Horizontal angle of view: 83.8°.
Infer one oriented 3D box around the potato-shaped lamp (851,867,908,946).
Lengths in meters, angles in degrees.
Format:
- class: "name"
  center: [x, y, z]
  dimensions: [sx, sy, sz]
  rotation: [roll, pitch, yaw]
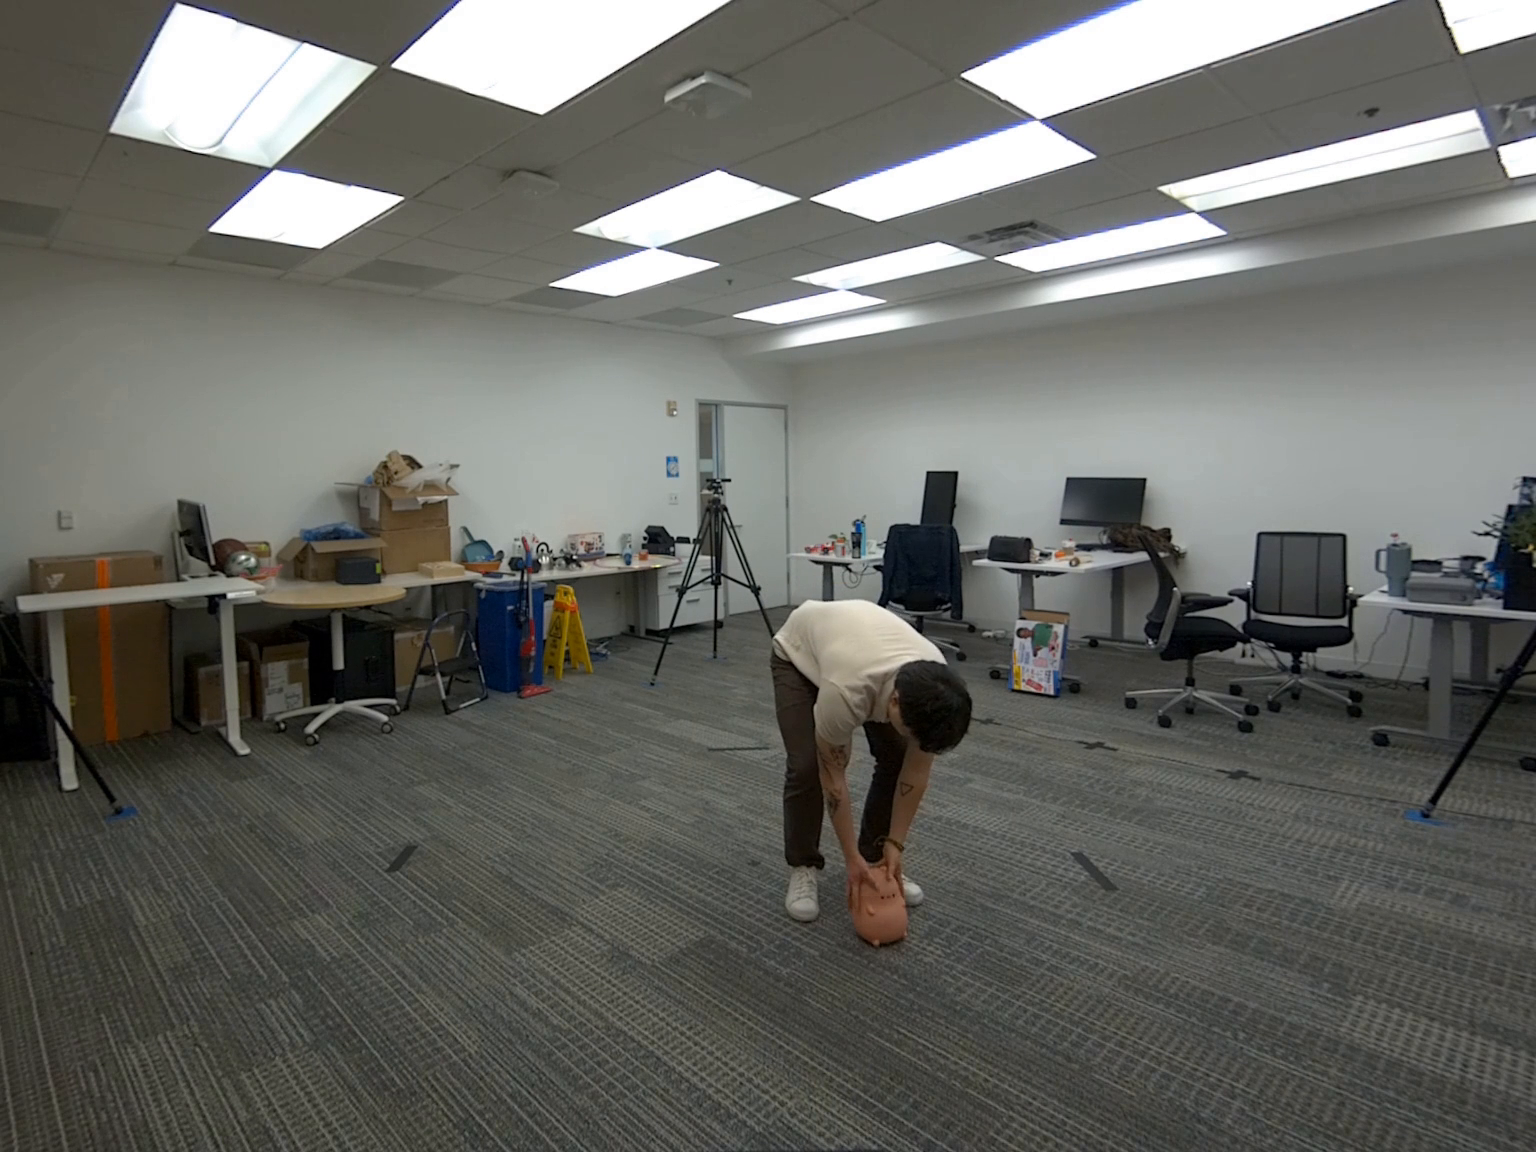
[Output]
- class: "potato-shaped lamp"
  center: [0.336, 0.996, 2.599]
  dimensions: [0.162, 0.197, 0.175]
  rotation: [-3, 4, -19]
